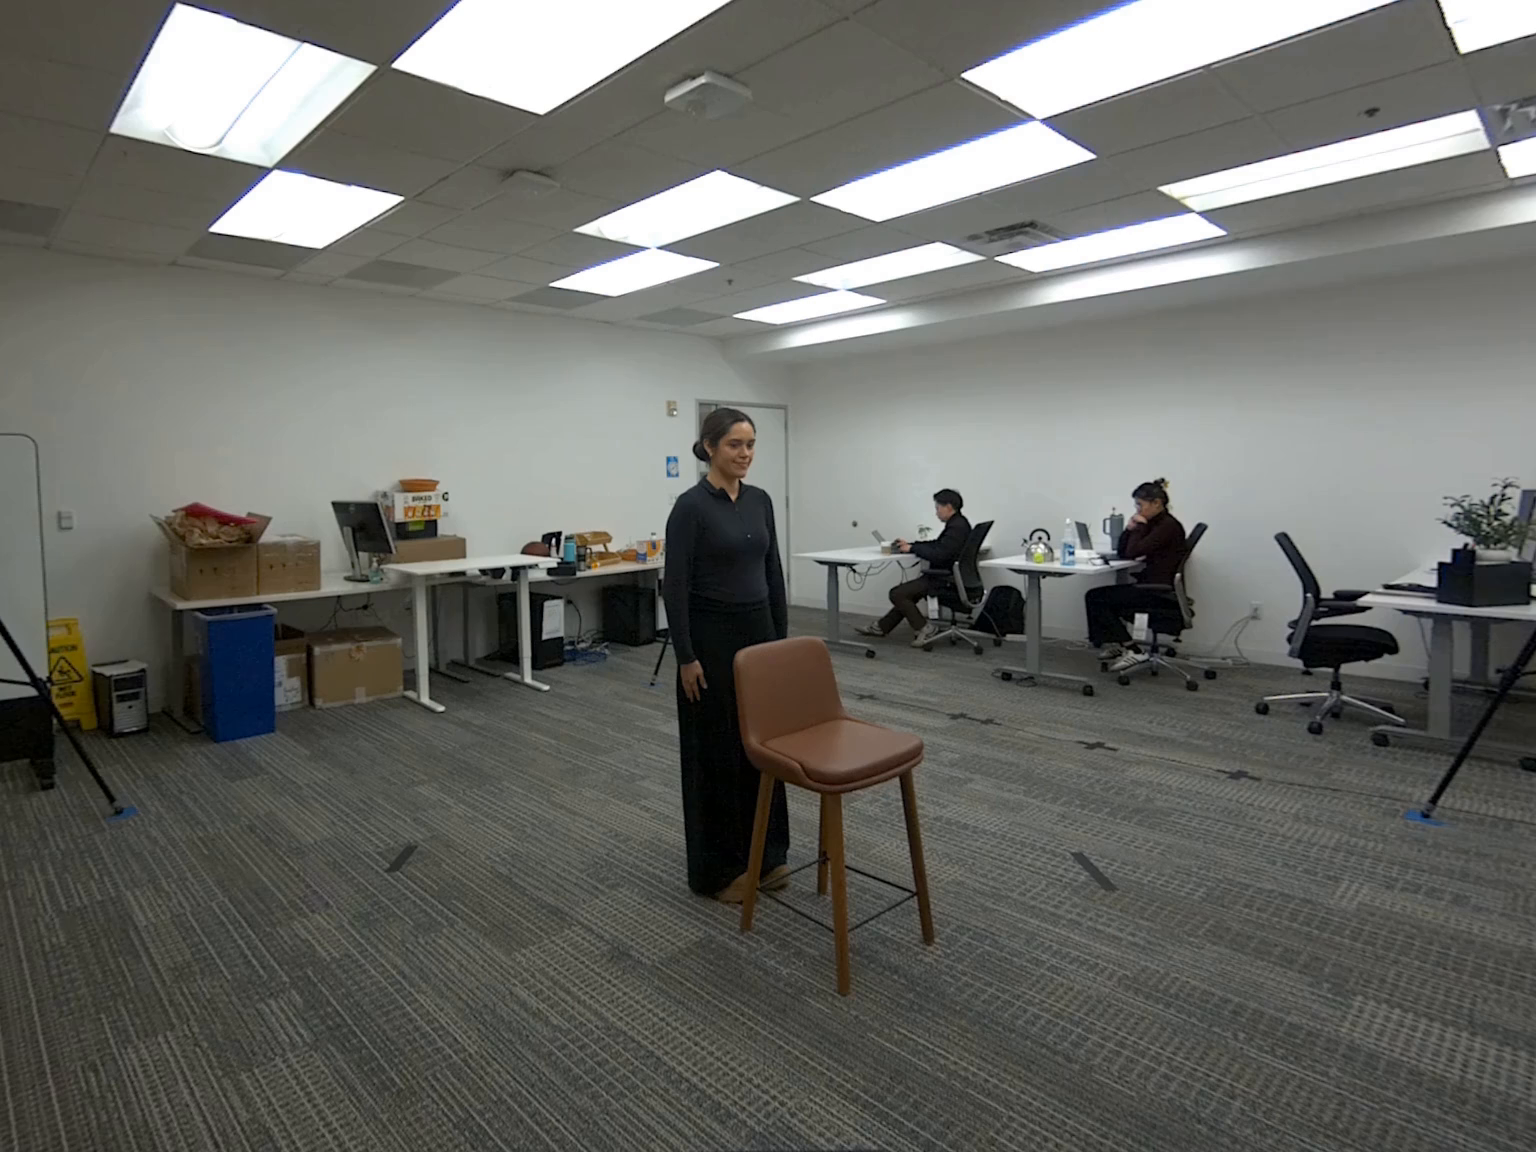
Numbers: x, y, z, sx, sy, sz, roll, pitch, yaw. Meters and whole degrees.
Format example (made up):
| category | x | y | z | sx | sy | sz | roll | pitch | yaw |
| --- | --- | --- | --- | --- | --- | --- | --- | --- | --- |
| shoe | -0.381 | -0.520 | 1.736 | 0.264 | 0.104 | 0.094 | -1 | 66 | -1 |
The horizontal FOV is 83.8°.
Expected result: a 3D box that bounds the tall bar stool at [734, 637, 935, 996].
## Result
| category | x | y | z | sx | sy | sz | roll | pitch | yaw |
| --- | --- | --- | --- | --- | --- | --- | --- | --- | --- |
| tall bar stool | 0.189 | 0.660 | 2.582 | 0.444 | 0.888 | 0.481 | -4 | 2 | -41 |
